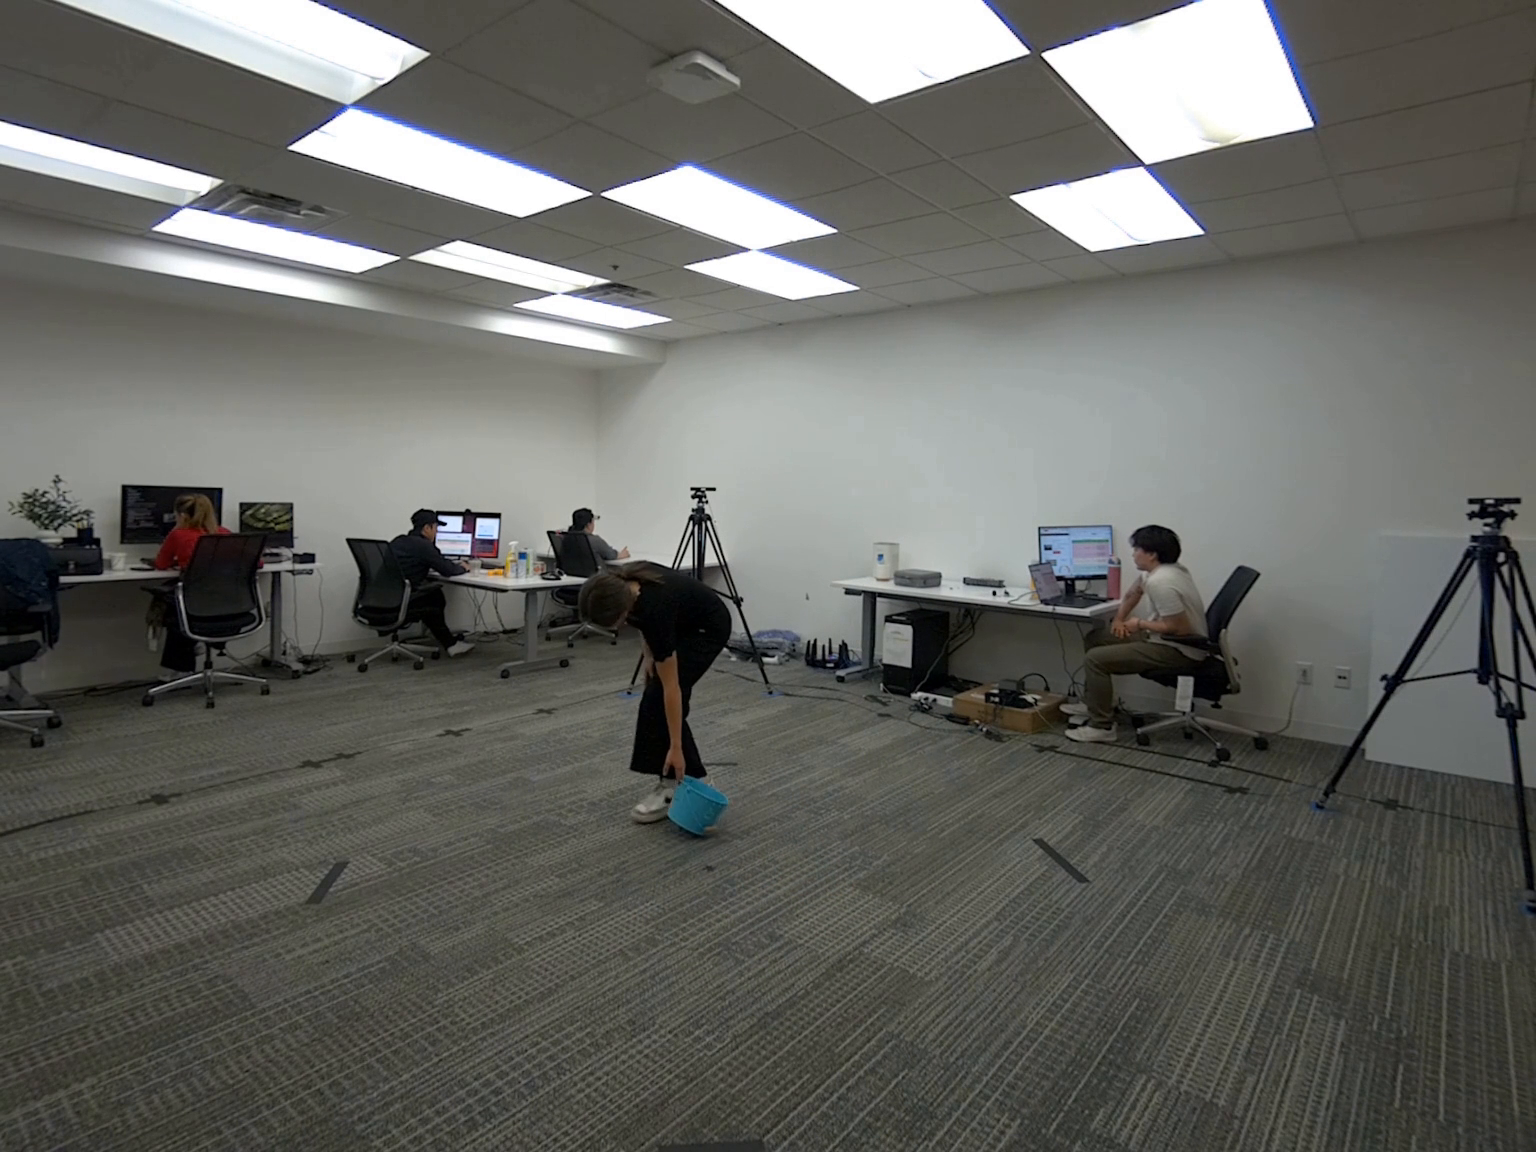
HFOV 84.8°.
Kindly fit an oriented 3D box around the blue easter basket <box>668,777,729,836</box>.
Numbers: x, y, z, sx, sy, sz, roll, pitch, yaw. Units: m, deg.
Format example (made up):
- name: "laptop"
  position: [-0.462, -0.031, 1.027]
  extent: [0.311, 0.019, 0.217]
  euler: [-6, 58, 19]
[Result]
- name: "blue easter basket"
  position: [-0.297, 0.927, 3.443]
  extent: [0.244, 0.156, 0.243]
  euler: [23, -2, -1]
